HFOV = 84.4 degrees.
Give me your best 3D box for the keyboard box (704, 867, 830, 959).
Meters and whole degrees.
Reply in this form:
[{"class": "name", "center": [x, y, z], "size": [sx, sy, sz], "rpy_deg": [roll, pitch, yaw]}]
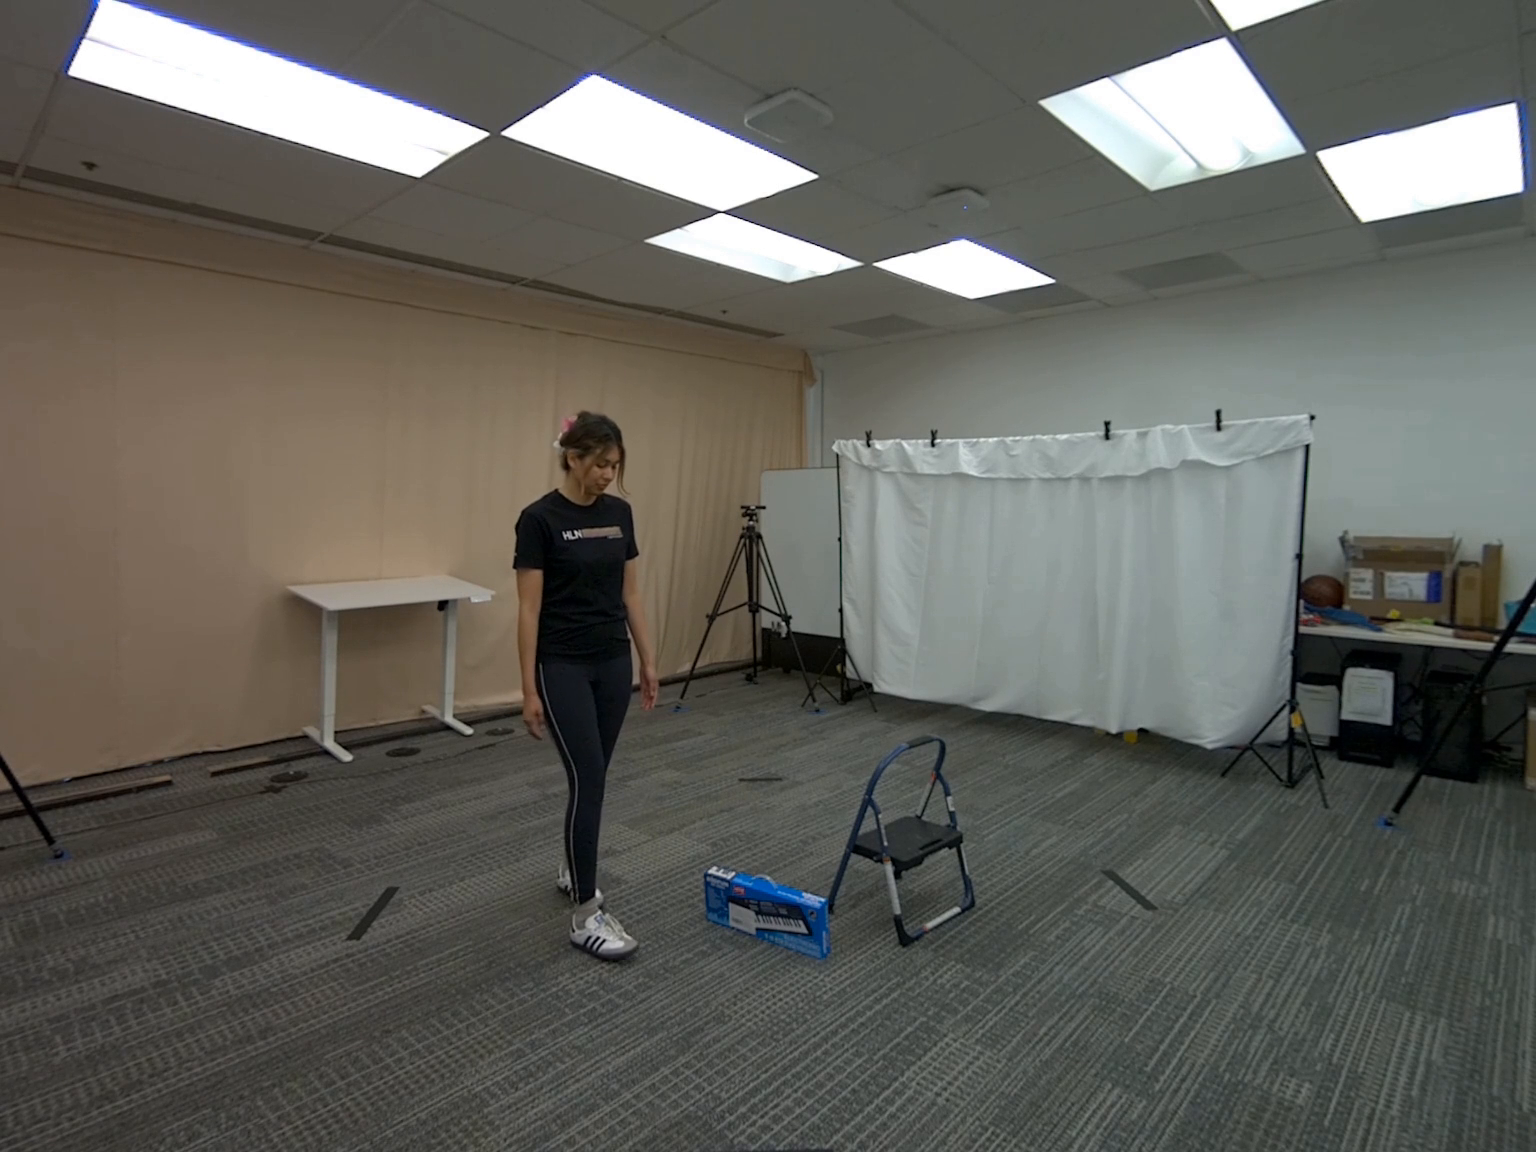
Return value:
[{"class": "keyboard box", "center": [-0.004, 1.081, 2.714], "size": [0.450, 0.175, 0.057], "rpy_deg": [3, 10, 33]}]
